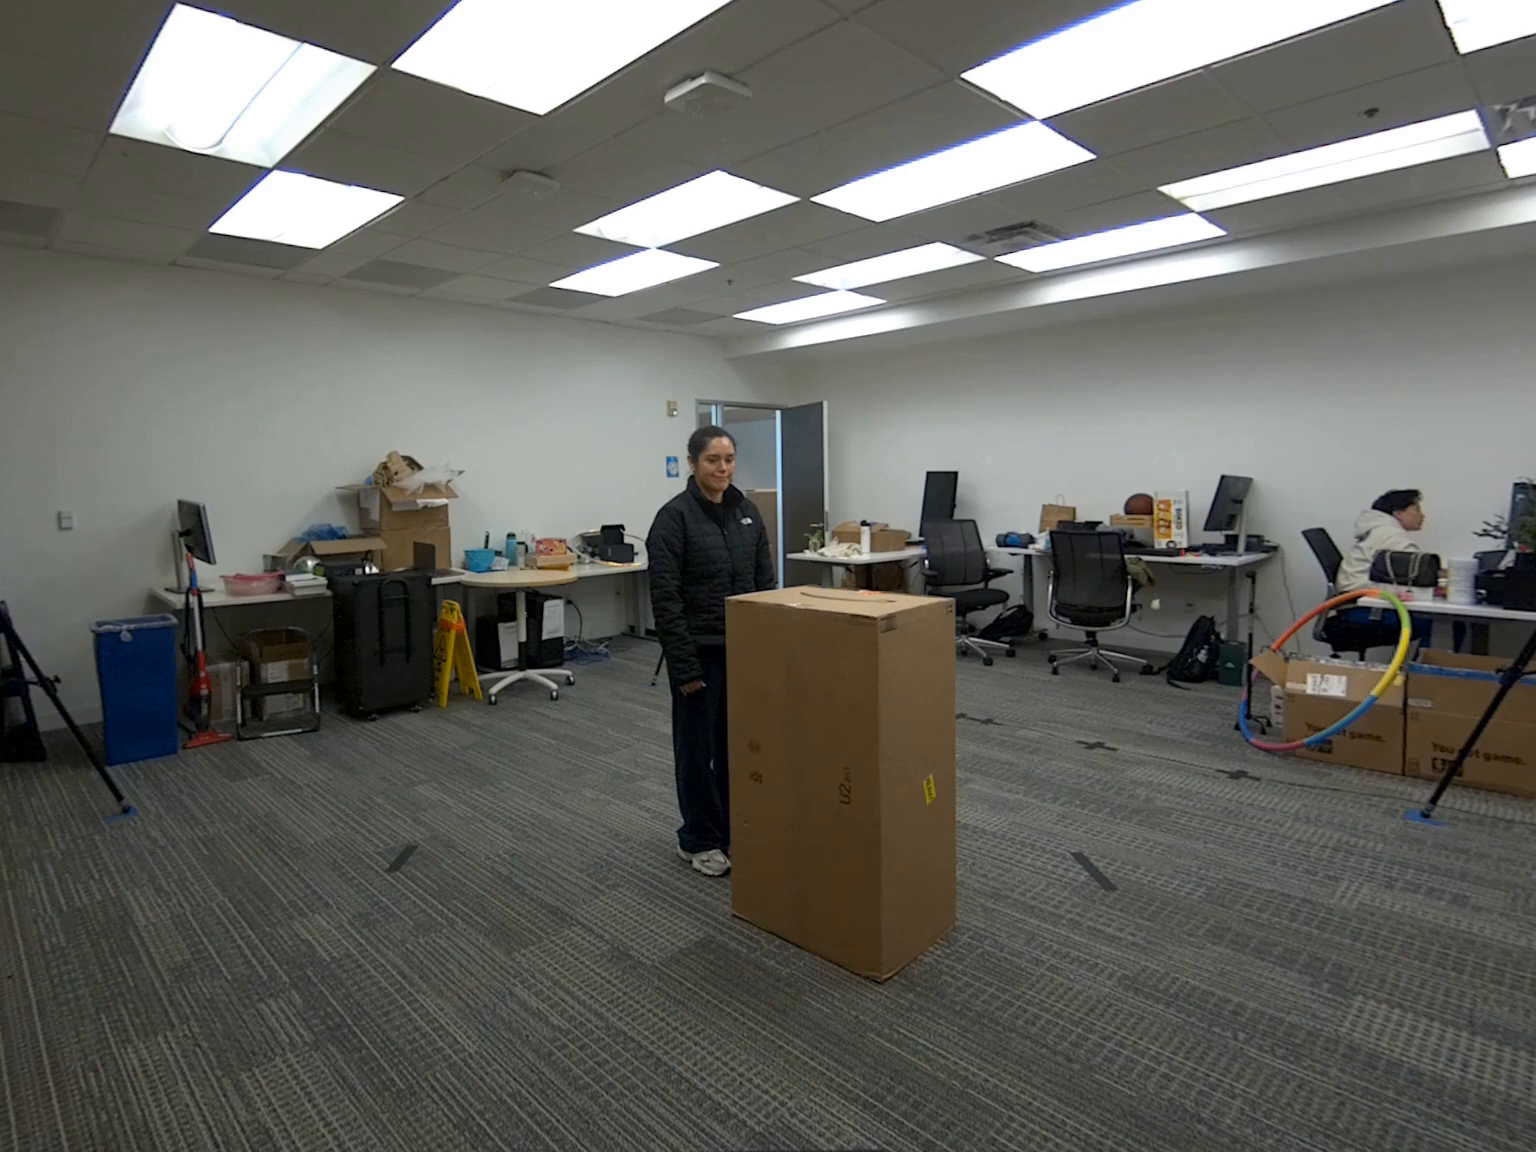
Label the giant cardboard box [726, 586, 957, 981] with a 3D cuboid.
[{"bbox_3d":[0.228,0.581,2.677,0.595,1.022,0.415,3,5,43],"label":"giant cardboard box"}]
